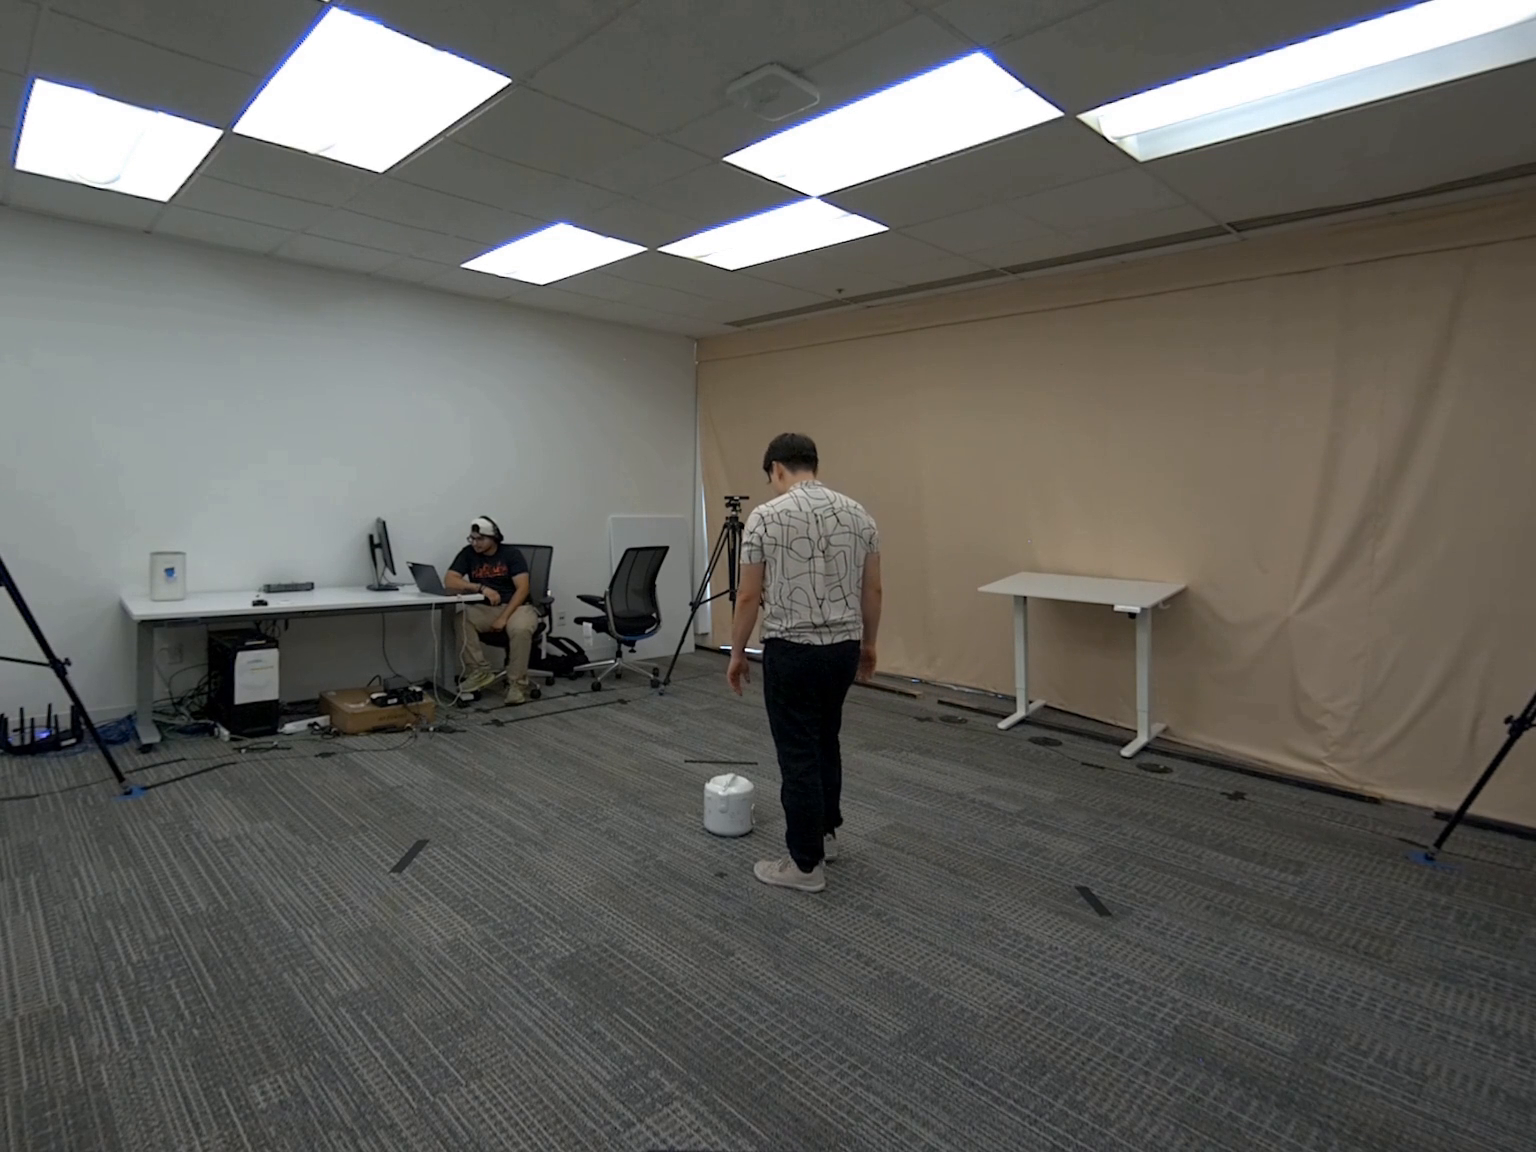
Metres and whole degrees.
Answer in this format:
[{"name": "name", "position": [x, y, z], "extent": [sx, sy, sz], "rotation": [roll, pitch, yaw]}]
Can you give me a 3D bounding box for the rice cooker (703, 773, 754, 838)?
[{"name": "rice cooker", "position": [-0.170, 0.948, 3.531], "extent": [0.220, 0.232, 0.218], "rotation": [2, 4, 14]}]
